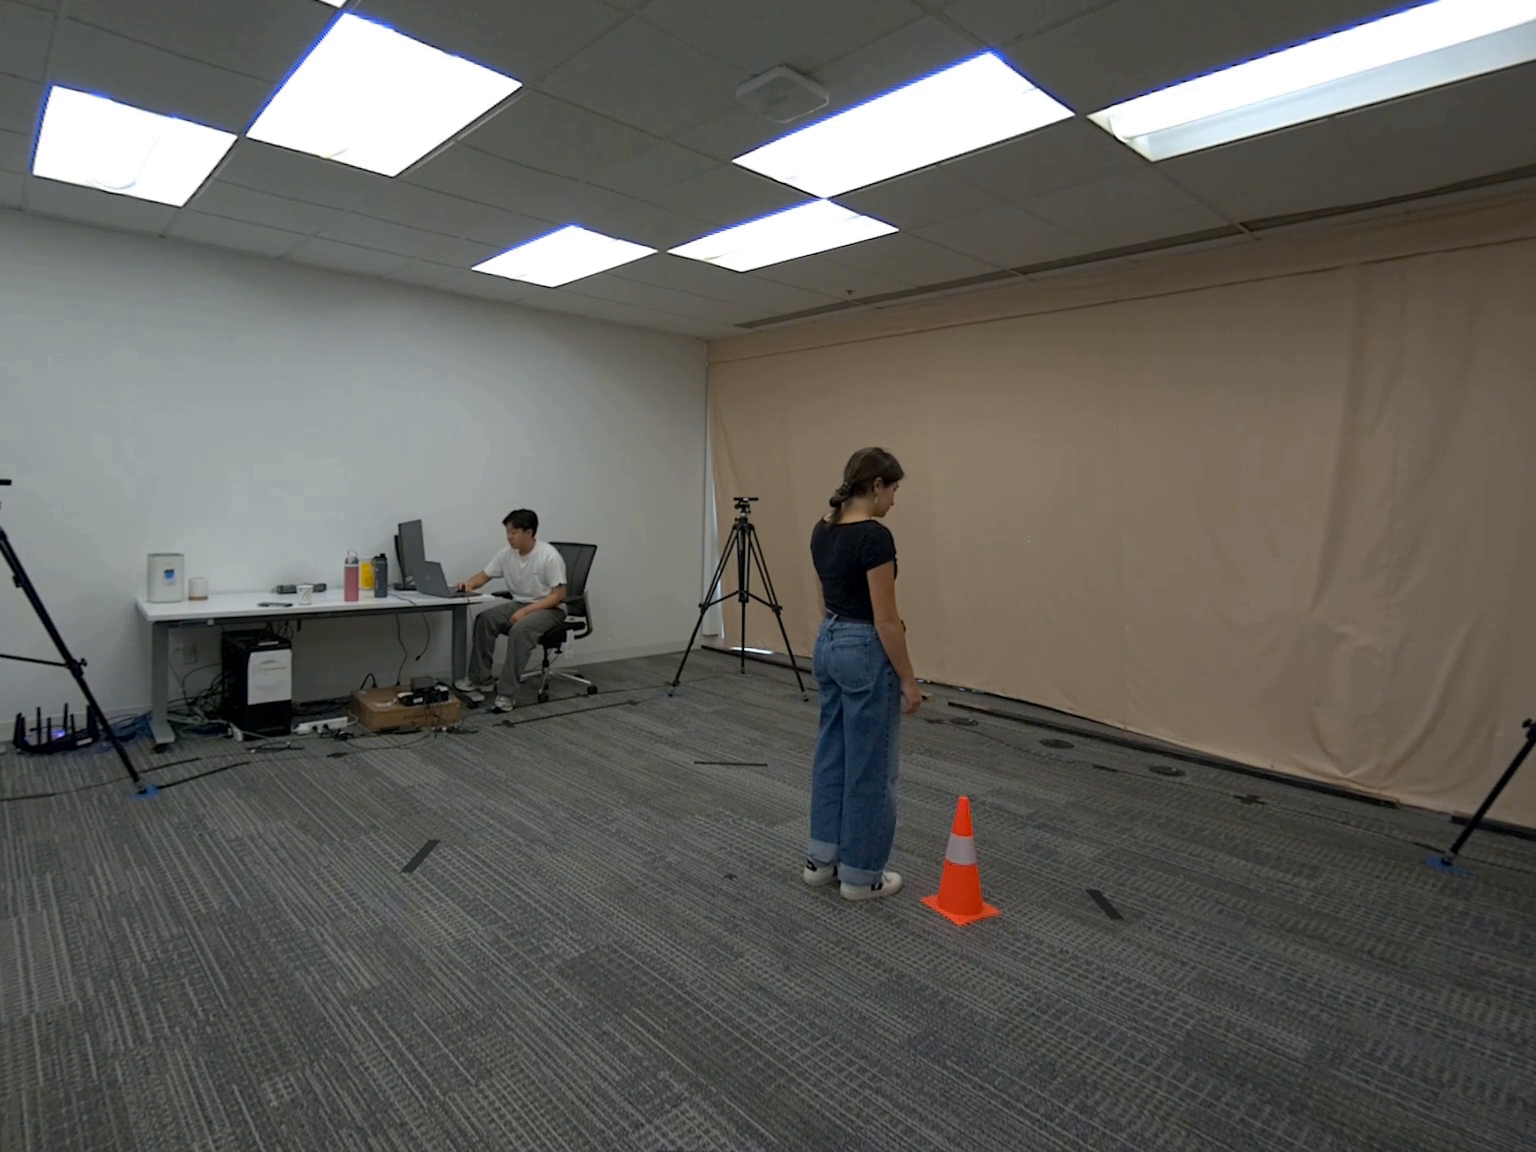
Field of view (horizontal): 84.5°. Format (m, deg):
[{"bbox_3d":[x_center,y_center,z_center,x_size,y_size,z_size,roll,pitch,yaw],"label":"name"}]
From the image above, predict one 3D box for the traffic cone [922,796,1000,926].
[{"bbox_3d":[0.661,0.960,2.897,0.199,0.382,0.210,-1,6,-28],"label":"traffic cone"}]
